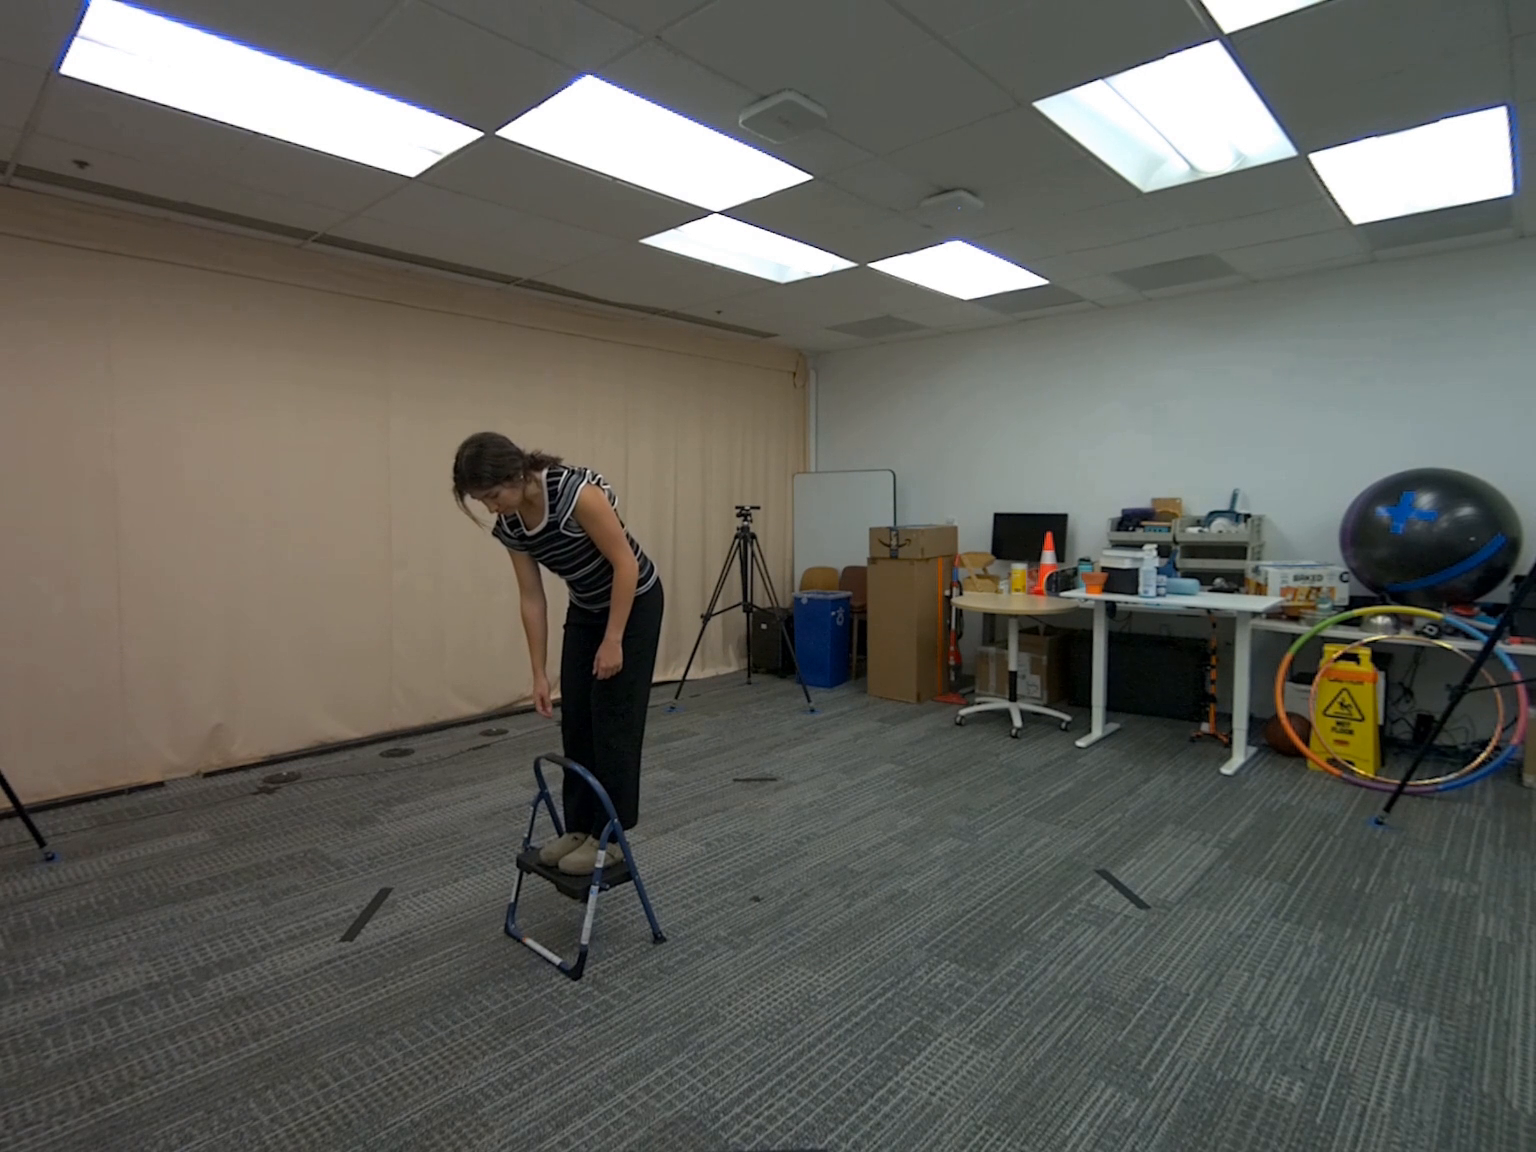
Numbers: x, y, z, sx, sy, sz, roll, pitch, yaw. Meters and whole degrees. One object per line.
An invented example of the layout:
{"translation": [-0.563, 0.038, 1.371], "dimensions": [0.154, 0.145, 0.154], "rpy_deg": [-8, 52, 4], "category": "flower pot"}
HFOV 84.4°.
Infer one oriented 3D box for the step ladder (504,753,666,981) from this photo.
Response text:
{"translation": [-0.602, 0.870, 2.715], "dimensions": [0.445, 0.605, 0.338], "rpy_deg": [2, 4, 43], "category": "step ladder"}
